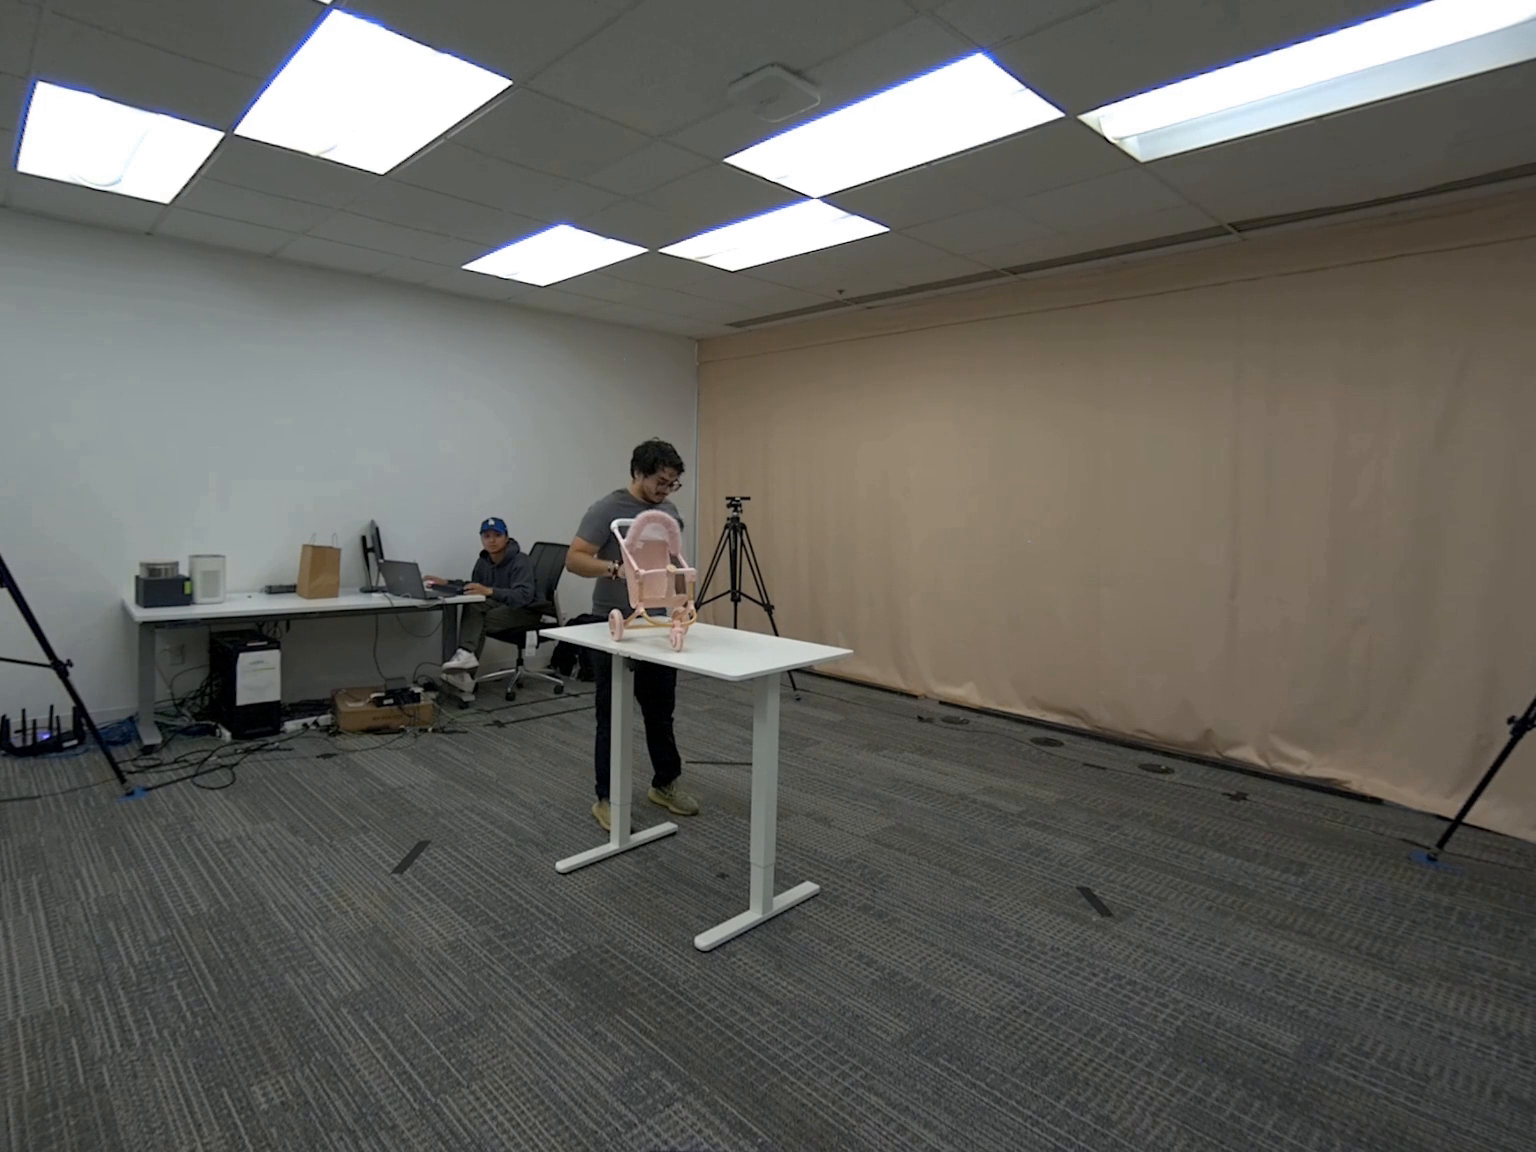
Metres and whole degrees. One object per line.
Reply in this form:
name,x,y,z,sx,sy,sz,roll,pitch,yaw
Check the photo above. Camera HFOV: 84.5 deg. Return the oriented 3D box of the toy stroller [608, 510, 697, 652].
toy stroller,-0.397,0.010,2.942,0.276,0.540,0.344,0,-13,-25
